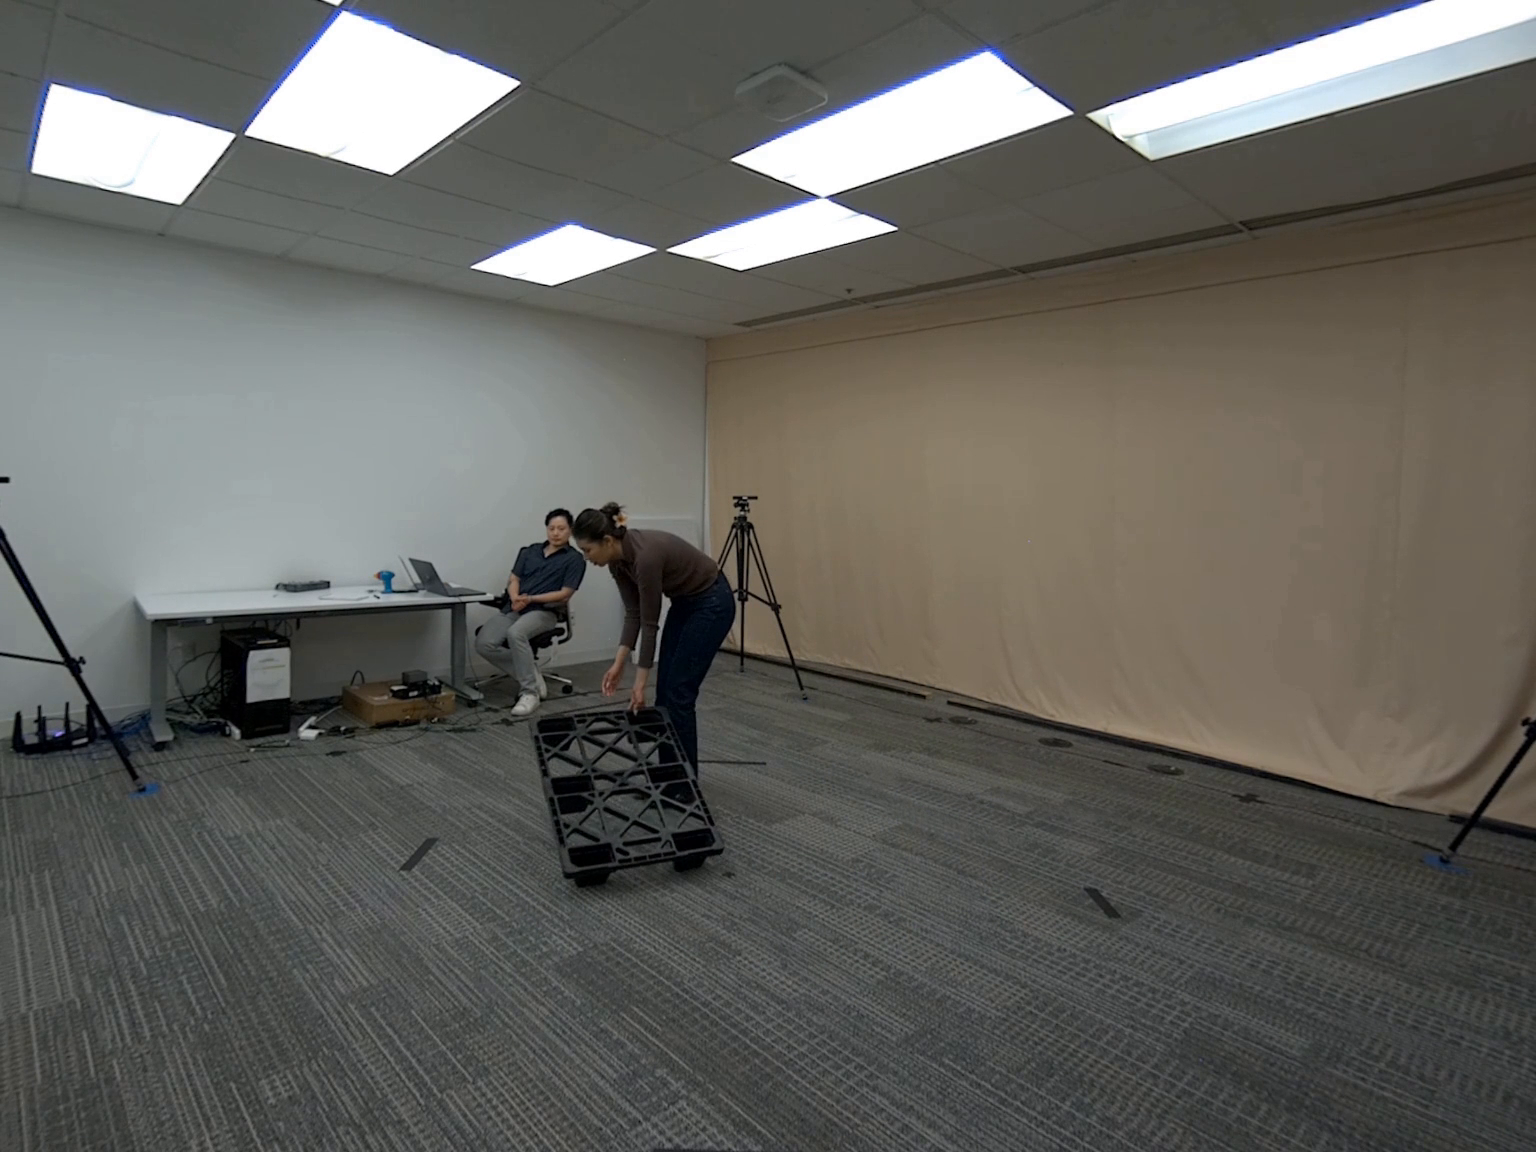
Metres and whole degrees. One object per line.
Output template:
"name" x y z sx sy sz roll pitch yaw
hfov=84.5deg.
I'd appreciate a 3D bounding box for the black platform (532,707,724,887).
"black platform" -0.599 0.849 3.330 0.594 0.141 0.831 -1 32 -25
